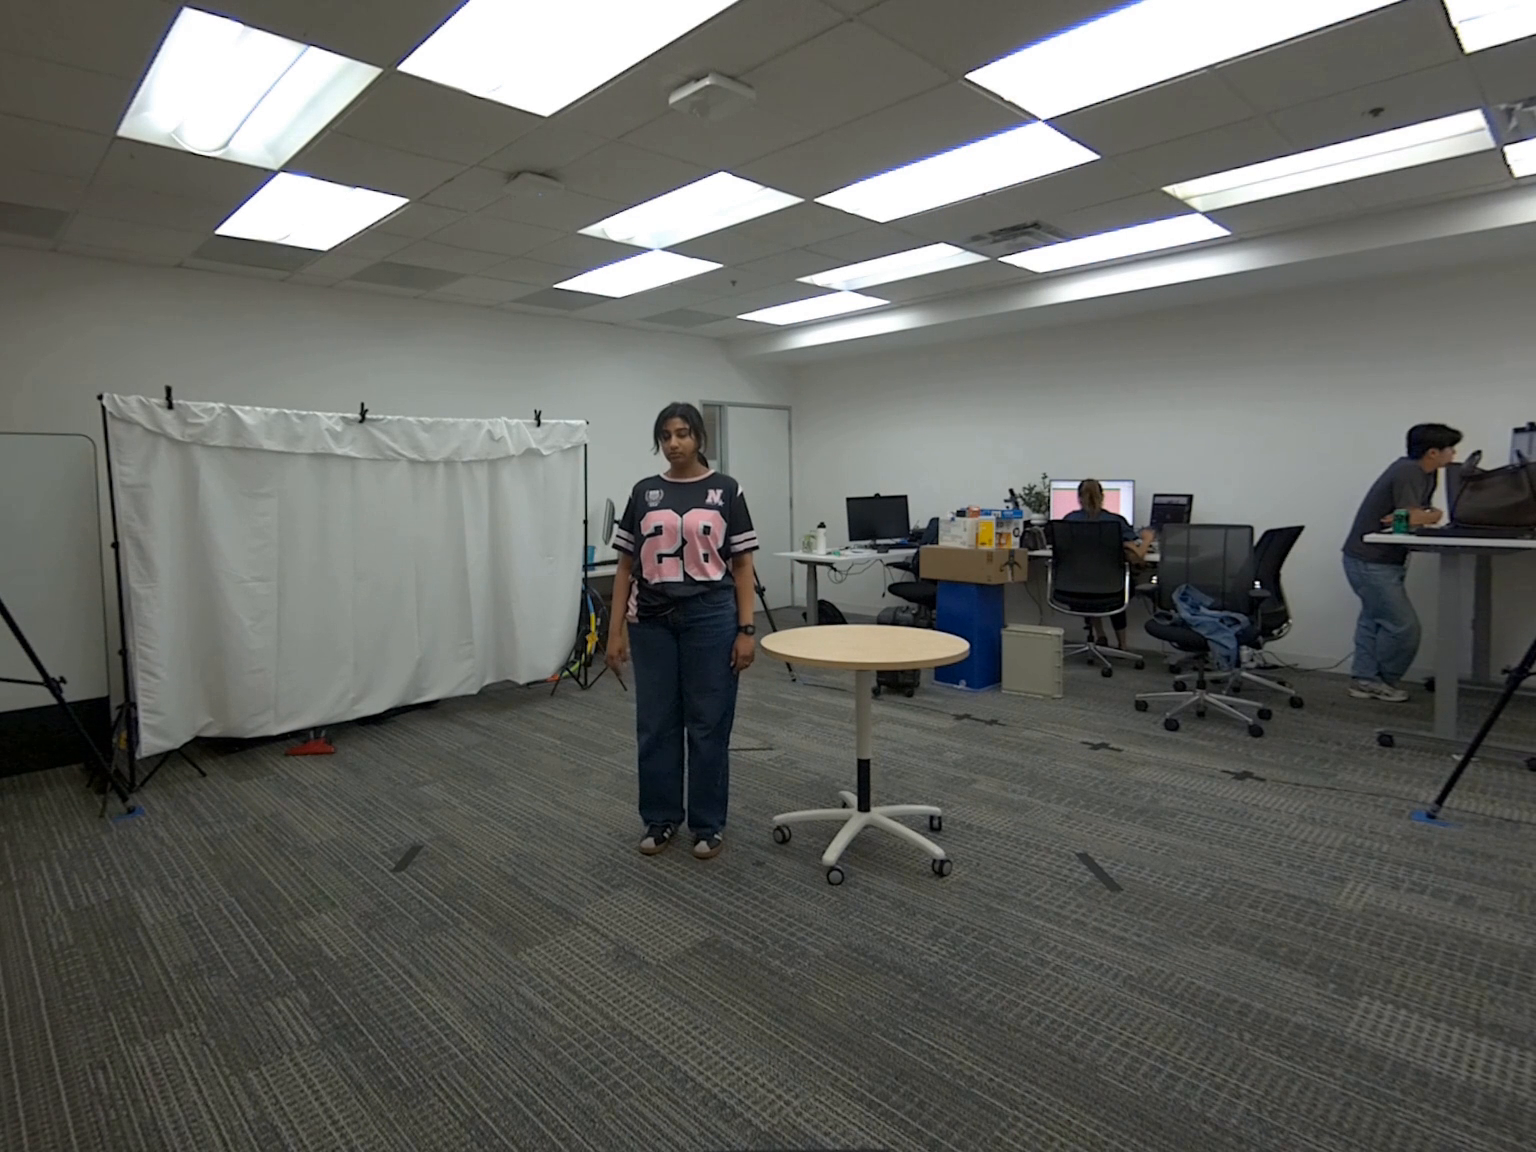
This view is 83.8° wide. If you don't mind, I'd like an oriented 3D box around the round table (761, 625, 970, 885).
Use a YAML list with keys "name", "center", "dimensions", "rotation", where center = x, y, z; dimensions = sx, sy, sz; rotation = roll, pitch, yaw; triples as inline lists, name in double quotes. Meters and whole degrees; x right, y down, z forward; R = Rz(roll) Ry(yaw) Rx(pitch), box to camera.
- name: "round table"
  center: [0.364, 0.630, 3.228]
  dimensions: [0.784, 0.784, 0.789]
  rotation: [-1, 5, -2]
